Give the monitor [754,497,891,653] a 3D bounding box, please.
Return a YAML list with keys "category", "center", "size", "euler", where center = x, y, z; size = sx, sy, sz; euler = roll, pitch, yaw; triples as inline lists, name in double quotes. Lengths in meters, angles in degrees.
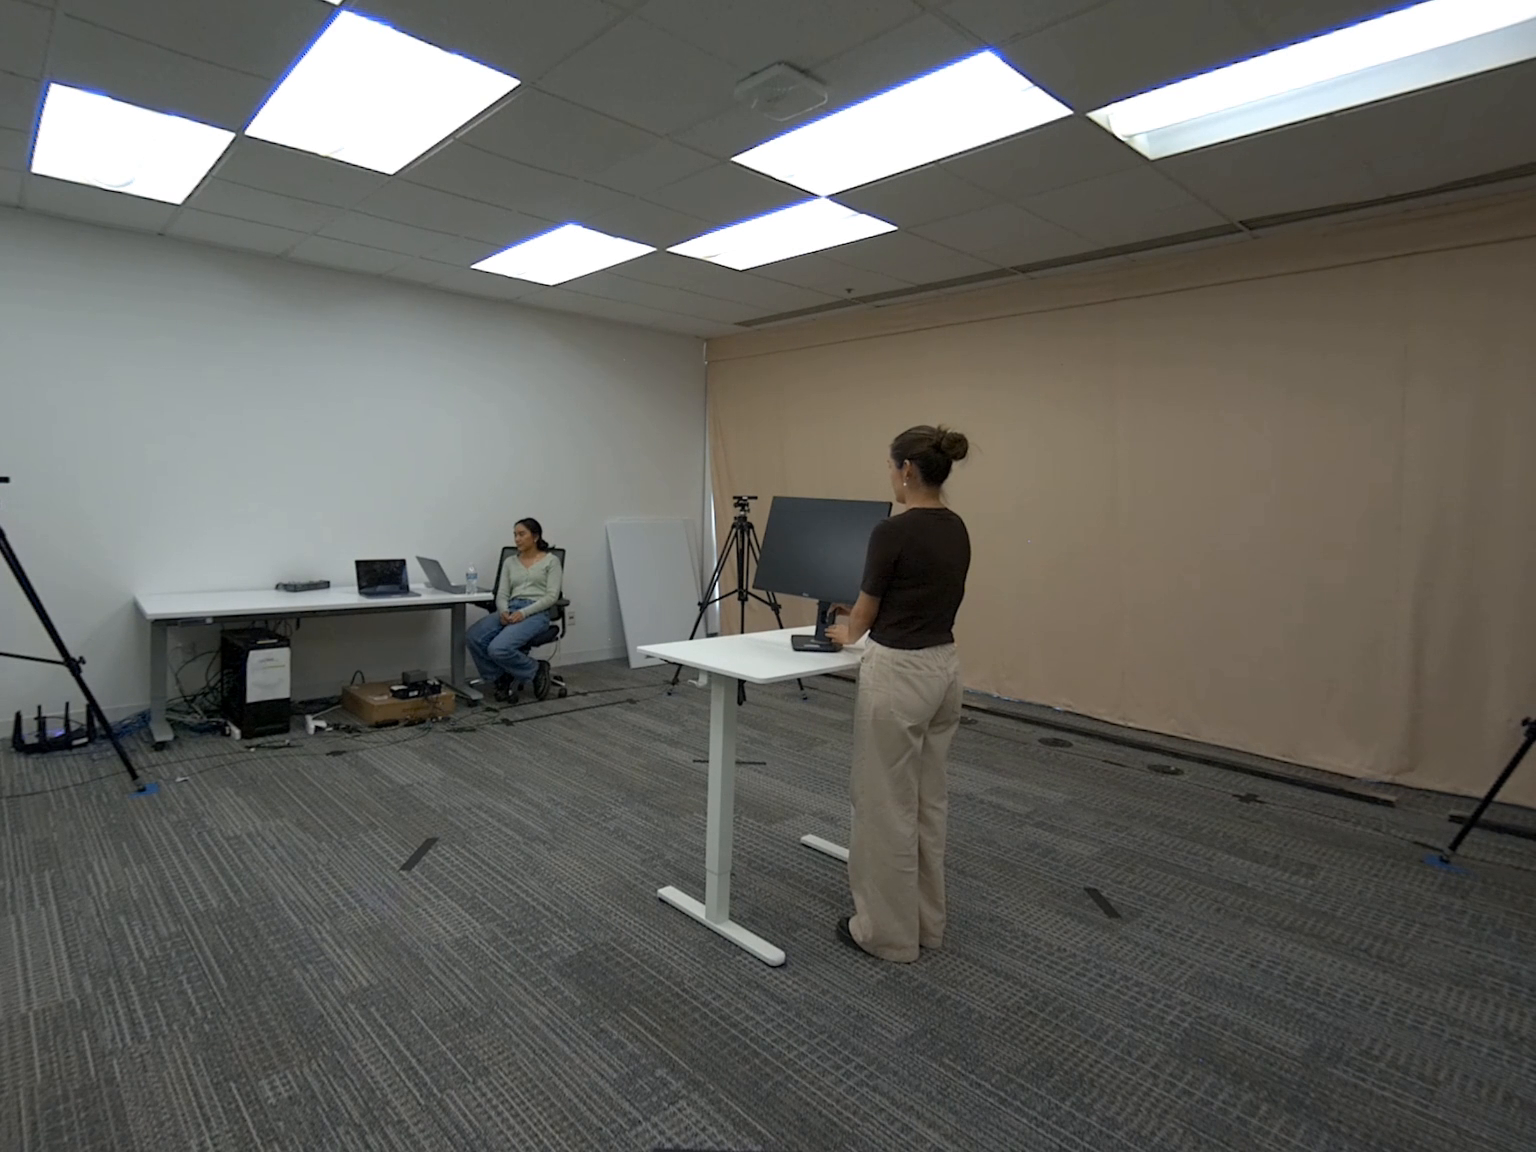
- category: "monitor"
  center: [0.192, -0.005, 2.913]
  size: [0.553, 0.520, 0.183]
  euler: [8, 8, 42]
